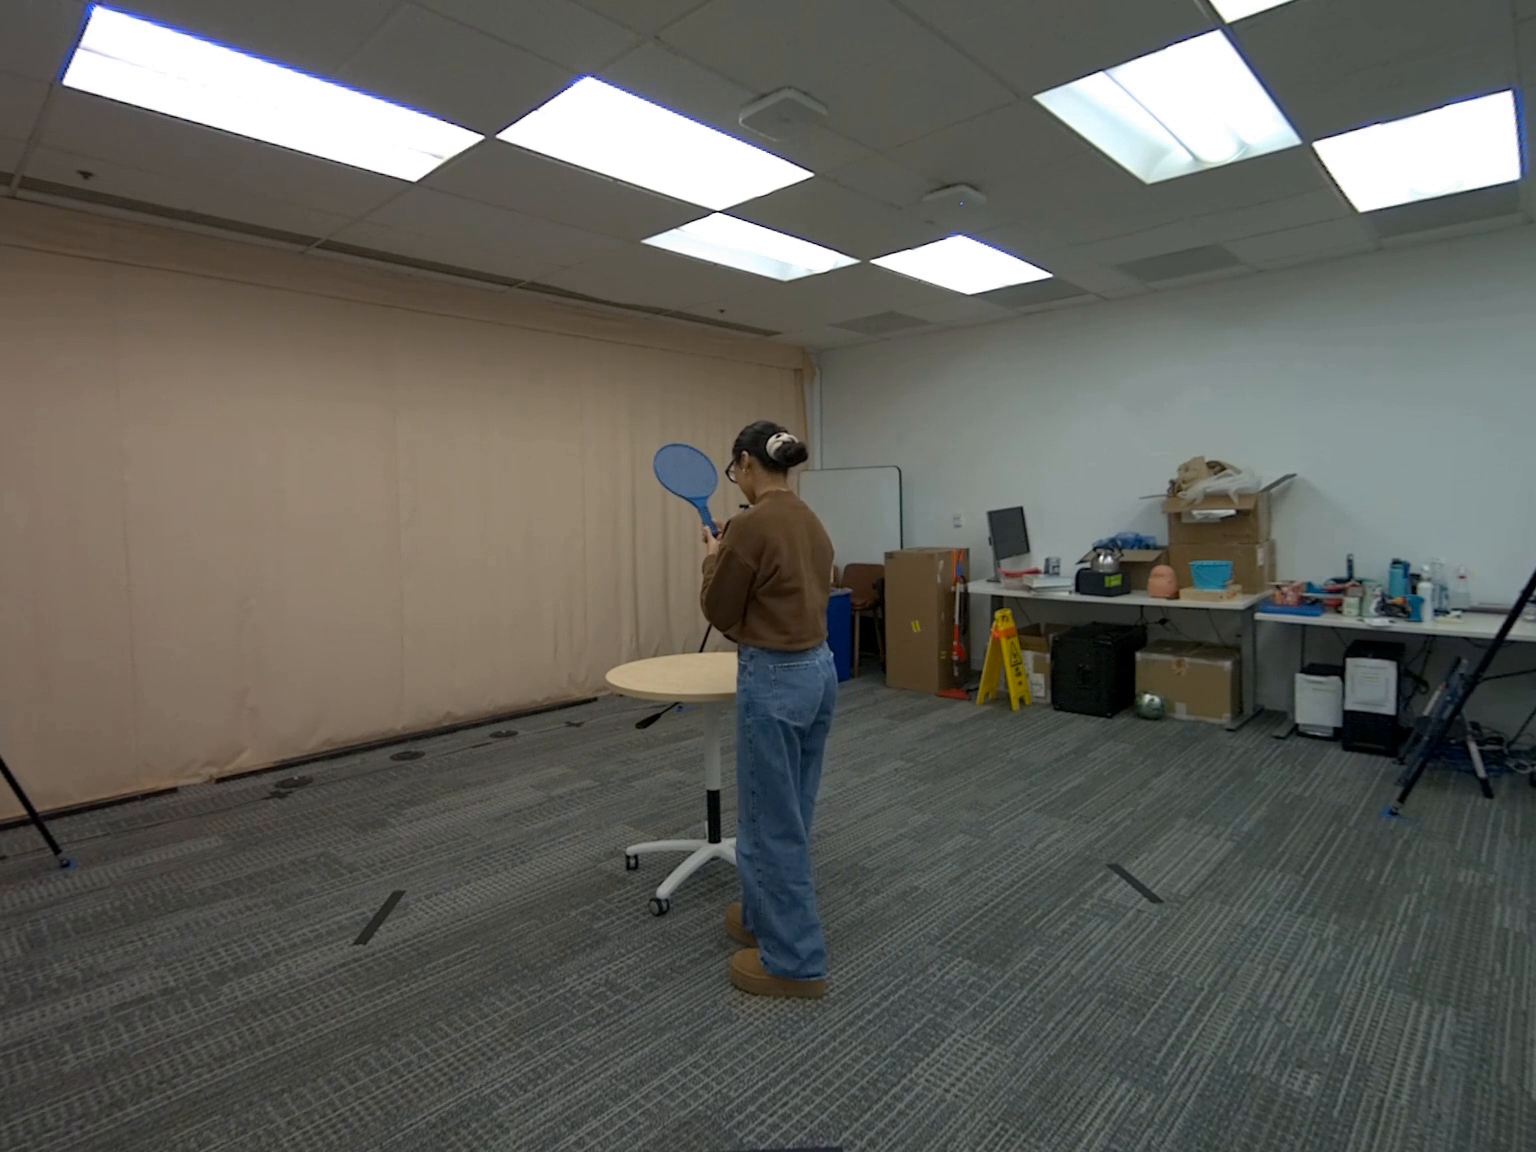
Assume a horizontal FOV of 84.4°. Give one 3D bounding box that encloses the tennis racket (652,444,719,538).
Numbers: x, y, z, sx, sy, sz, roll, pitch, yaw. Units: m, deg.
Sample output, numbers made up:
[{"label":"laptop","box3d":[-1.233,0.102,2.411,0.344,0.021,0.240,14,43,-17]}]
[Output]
[{"label":"tennis racket","box3d":[-0.229,-0.277,2.763,0.209,0.445,0.031,-4,-40,-21]}]
